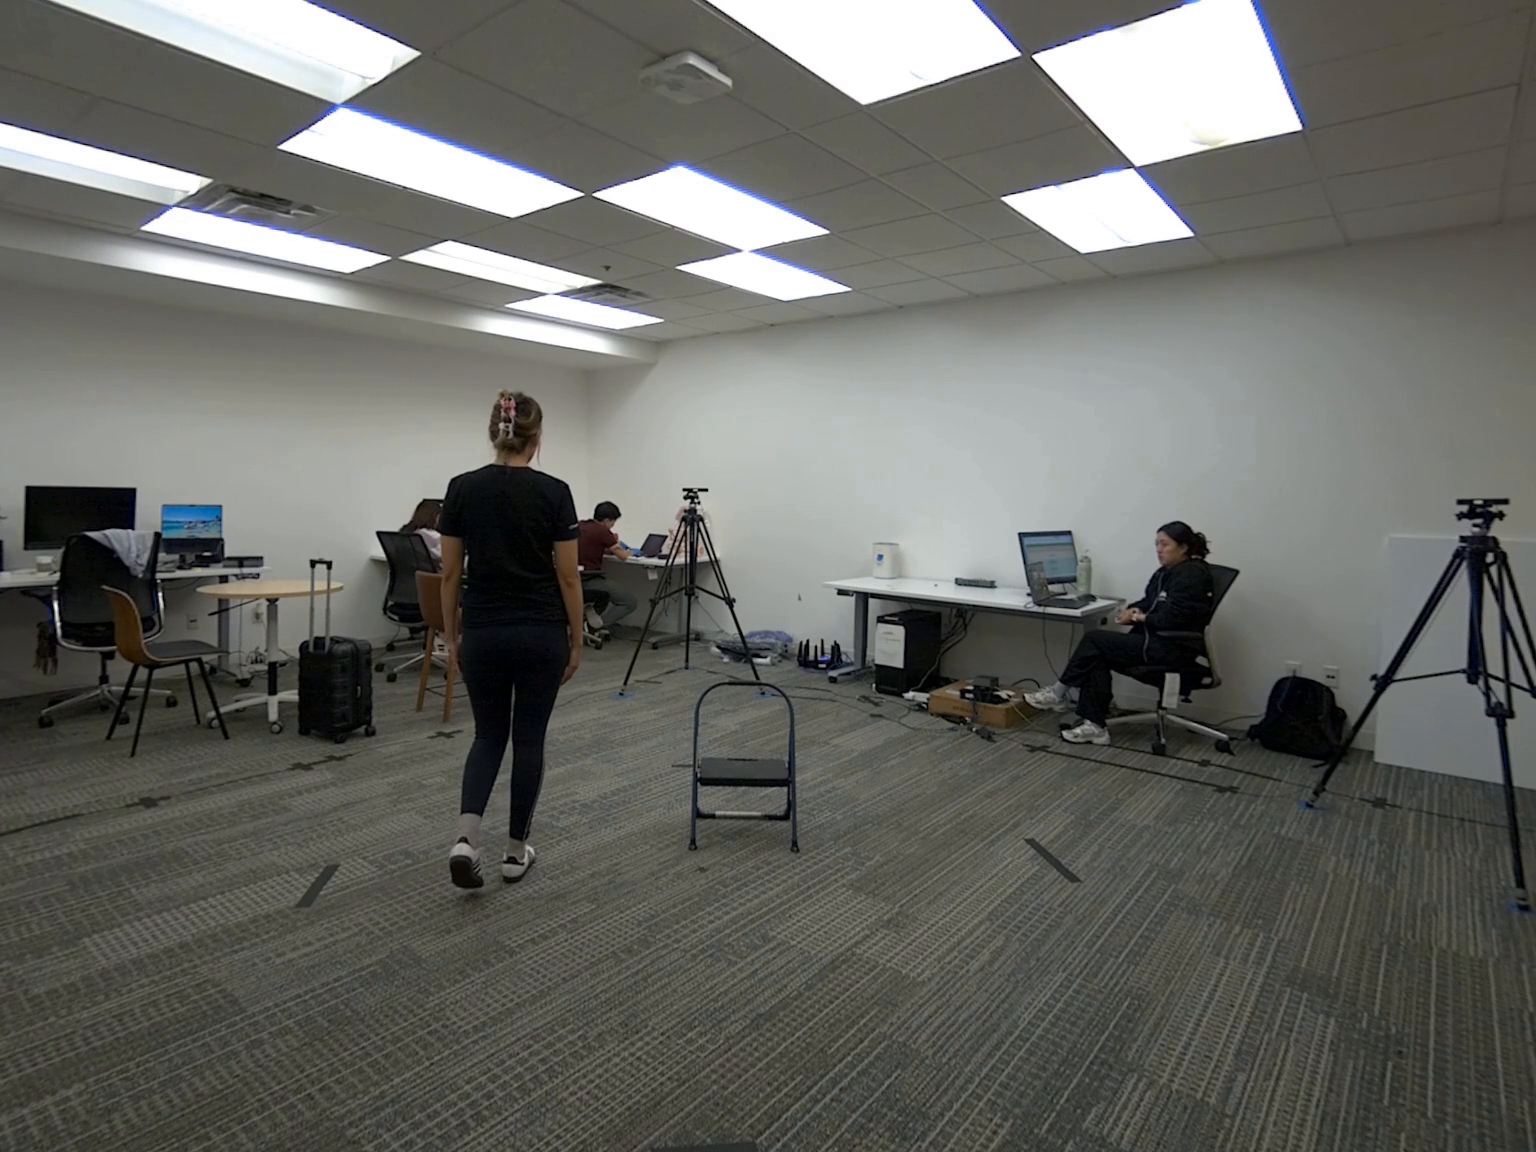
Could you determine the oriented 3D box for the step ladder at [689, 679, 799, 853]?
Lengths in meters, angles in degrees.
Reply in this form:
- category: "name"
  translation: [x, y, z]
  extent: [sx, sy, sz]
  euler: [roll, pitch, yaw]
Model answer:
- category: "step ladder"
  translation: [-0.105, 0.738, 3.434]
  extent: [0.430, 0.604, 0.351]
  euler: [1, 4, -2]
